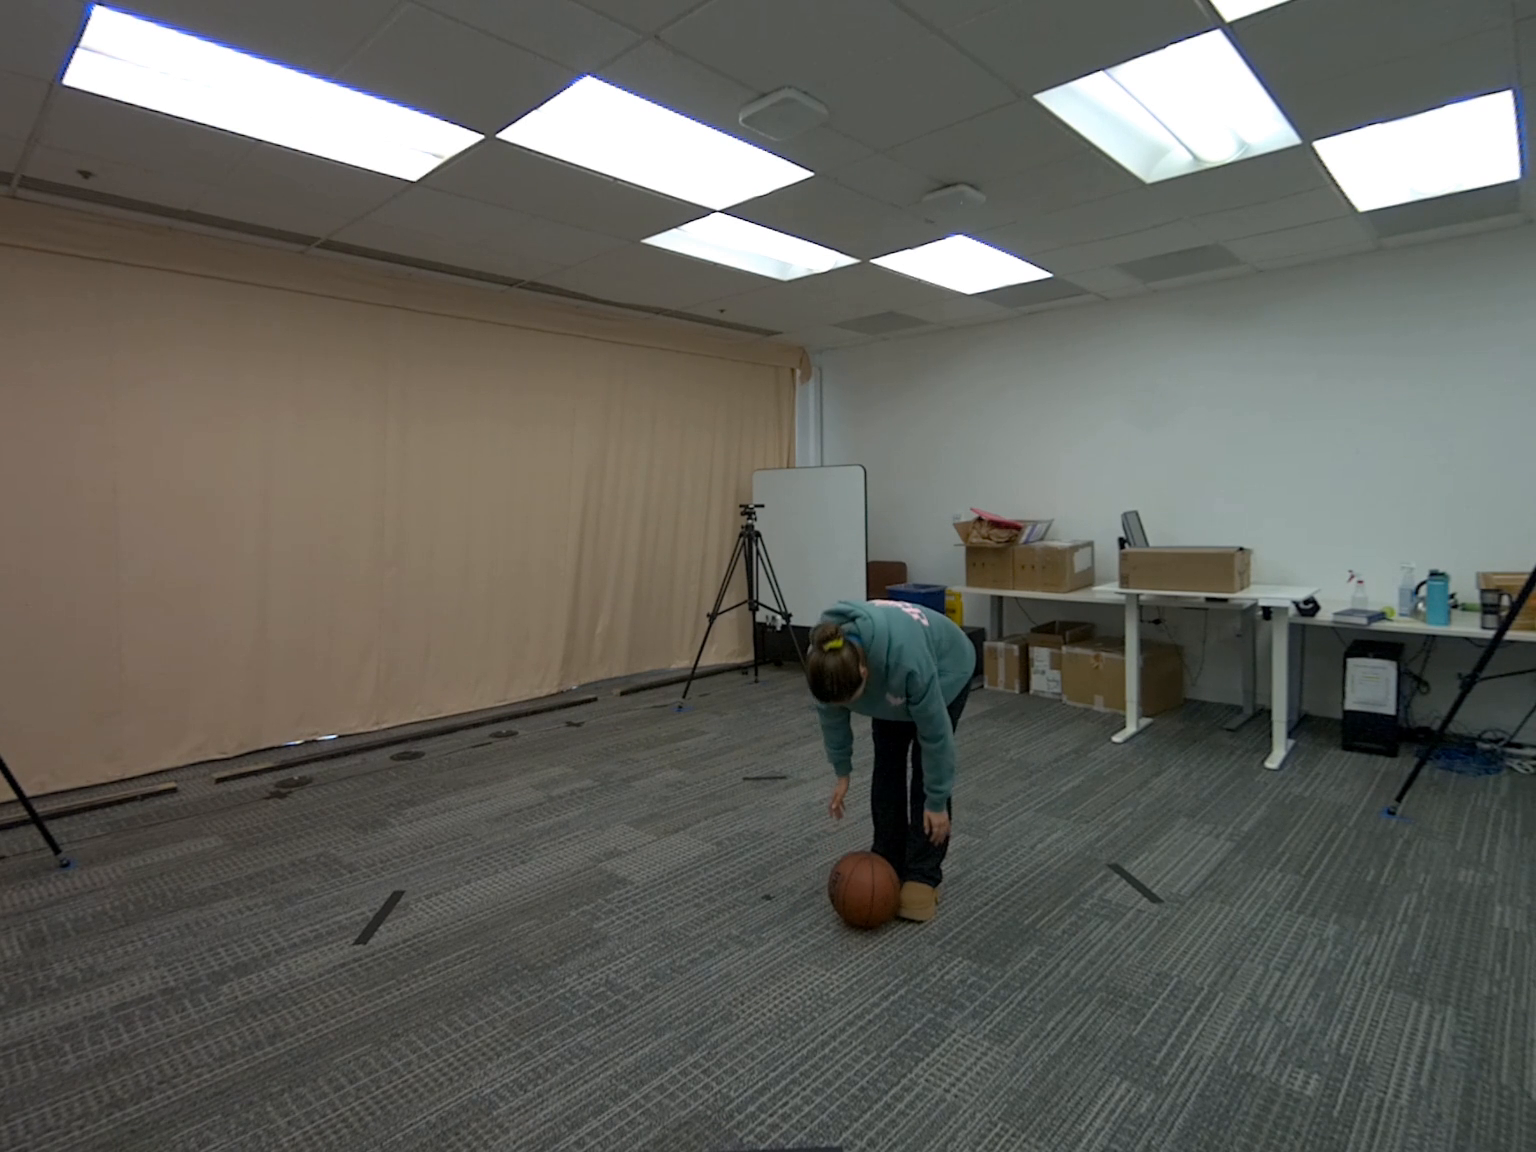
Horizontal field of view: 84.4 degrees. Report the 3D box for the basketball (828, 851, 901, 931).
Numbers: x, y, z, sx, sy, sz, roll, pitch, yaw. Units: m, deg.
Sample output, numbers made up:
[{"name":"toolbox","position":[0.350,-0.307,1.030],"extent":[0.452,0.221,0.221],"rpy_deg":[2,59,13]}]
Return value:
[{"name":"basketball","position":[0.318,1.028,2.787],"extent":[0.236,0.235,0.237],"rpy_deg":[-1,4,-2]}]
